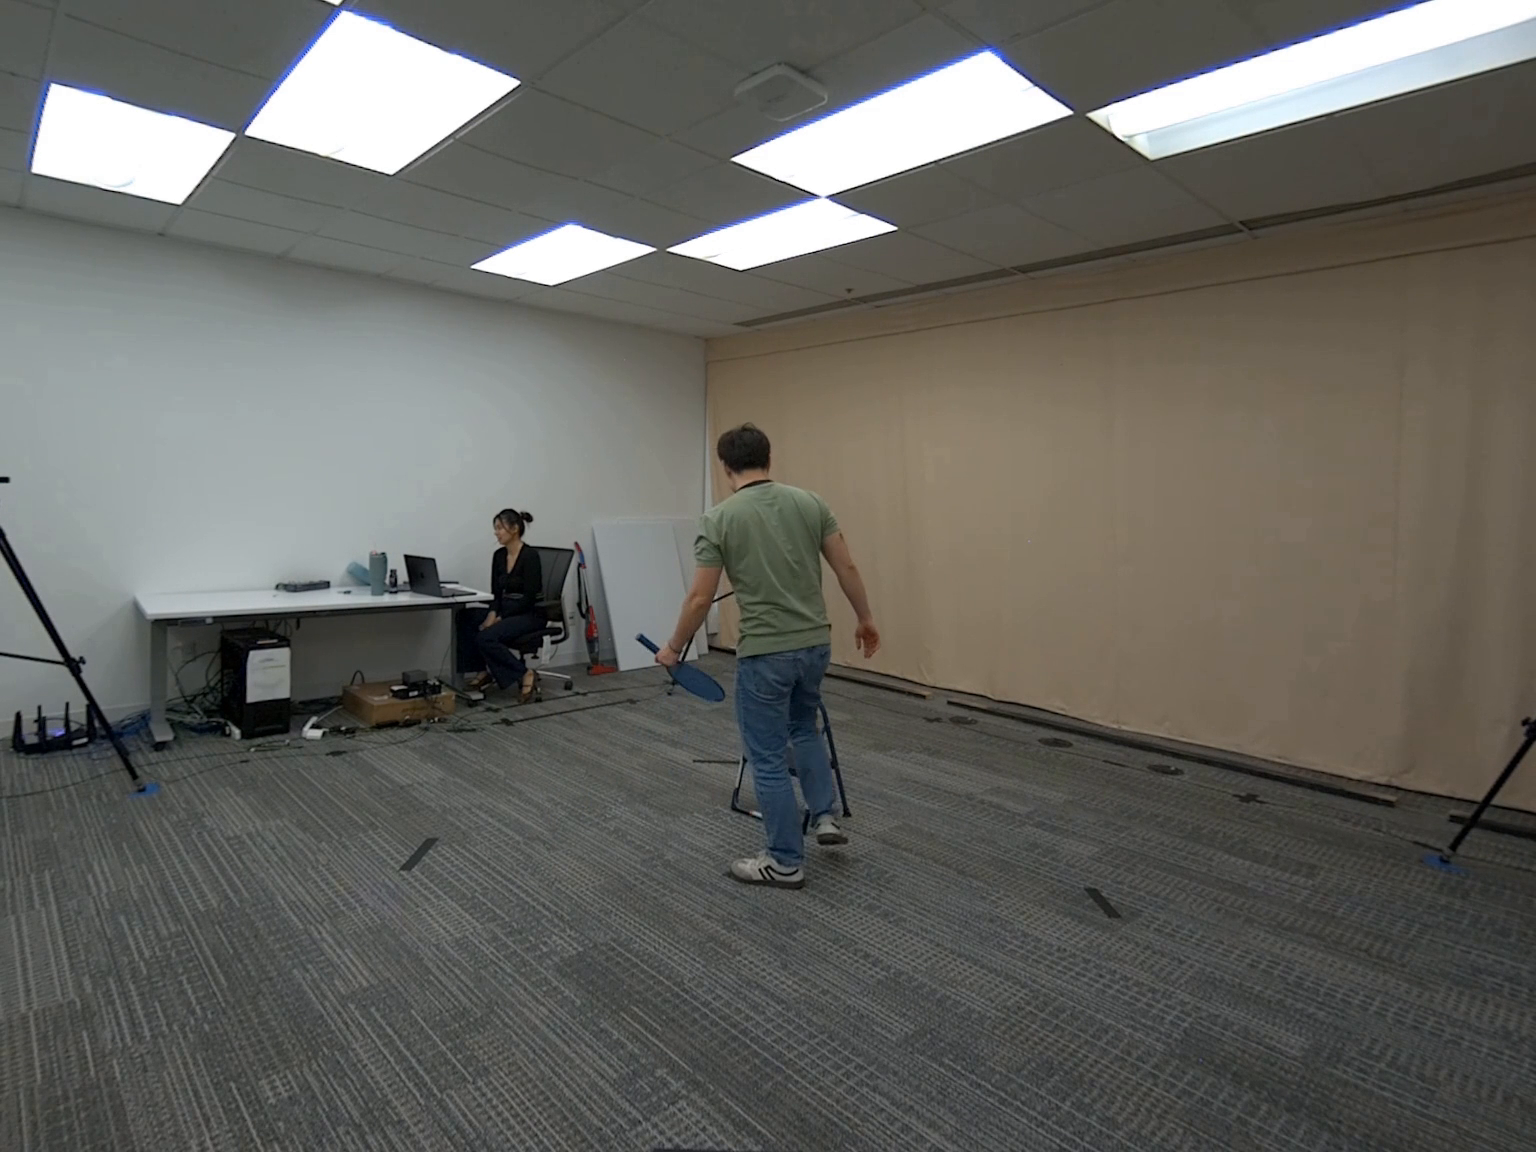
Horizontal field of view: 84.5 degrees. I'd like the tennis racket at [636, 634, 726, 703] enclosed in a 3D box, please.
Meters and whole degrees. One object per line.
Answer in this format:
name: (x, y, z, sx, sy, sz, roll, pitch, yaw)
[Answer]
tennis racket: (-0.331, 0.361, 3.215, 0.425, 0.032, 0.216, 40, -34, -16)
